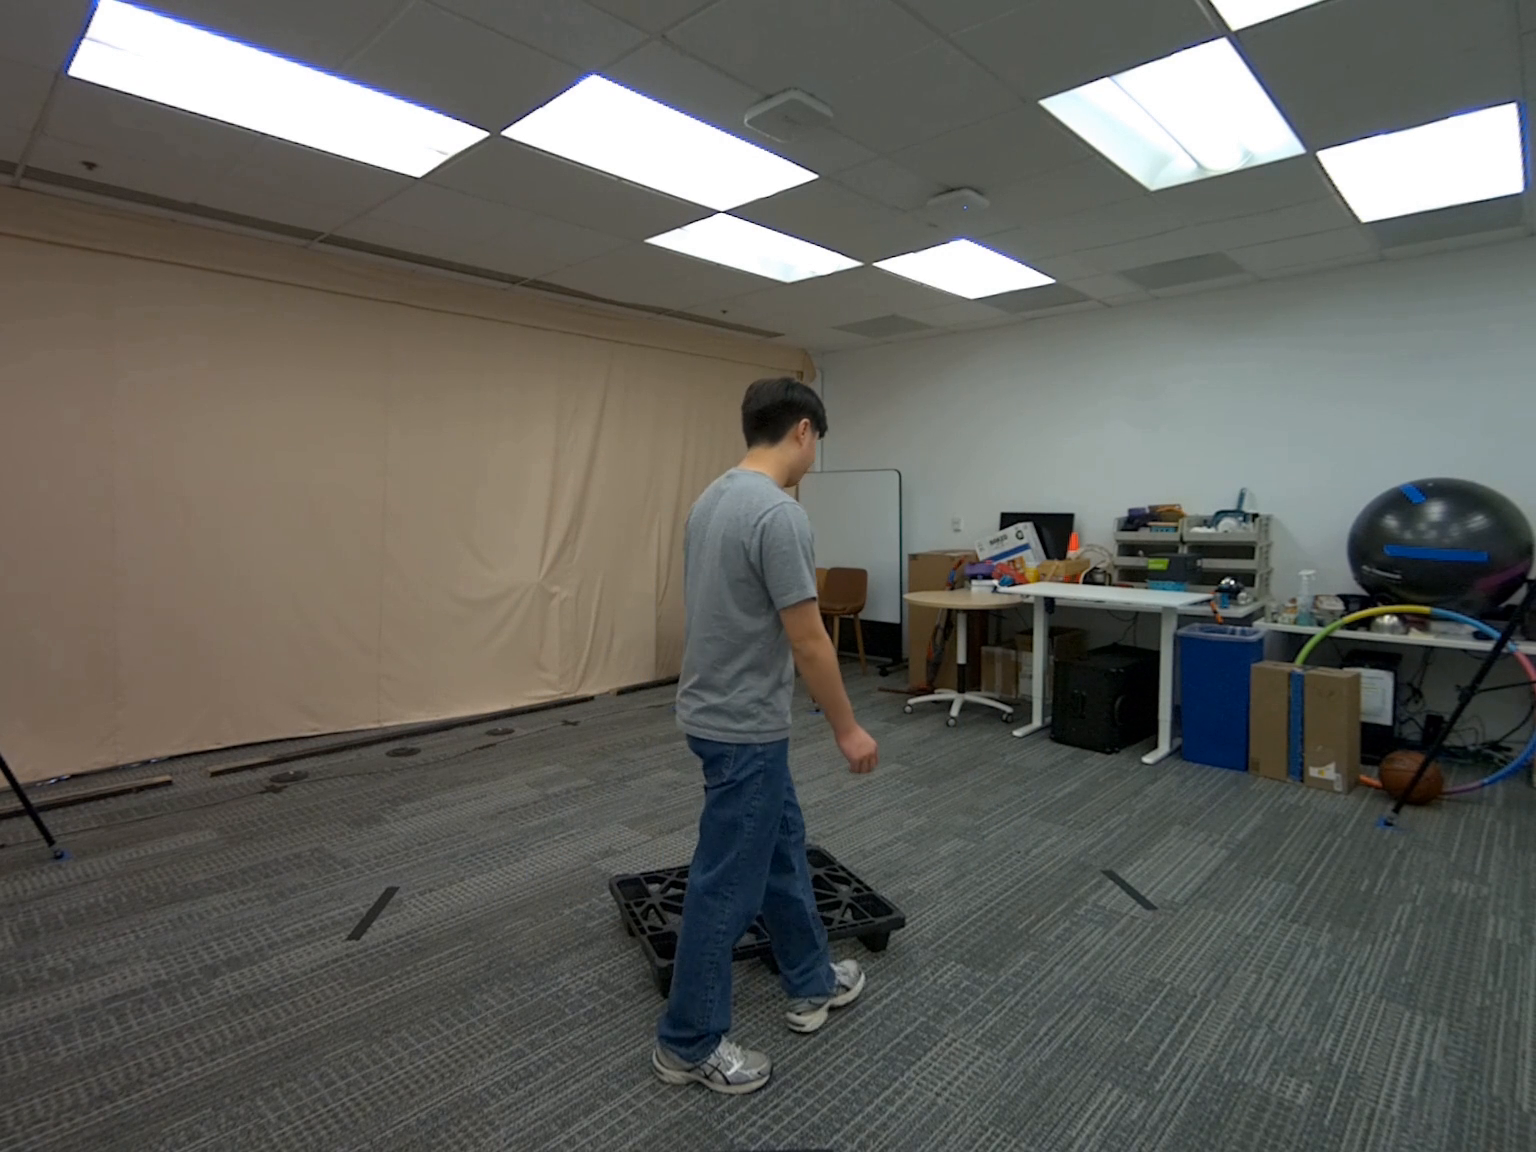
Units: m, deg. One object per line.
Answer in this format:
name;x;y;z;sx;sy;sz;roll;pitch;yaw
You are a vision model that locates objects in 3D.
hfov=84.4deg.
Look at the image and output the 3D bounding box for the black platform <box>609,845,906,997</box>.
black platform;-0.059;1.098;2.721;0.788;0.143;0.619;-2;4;-22
